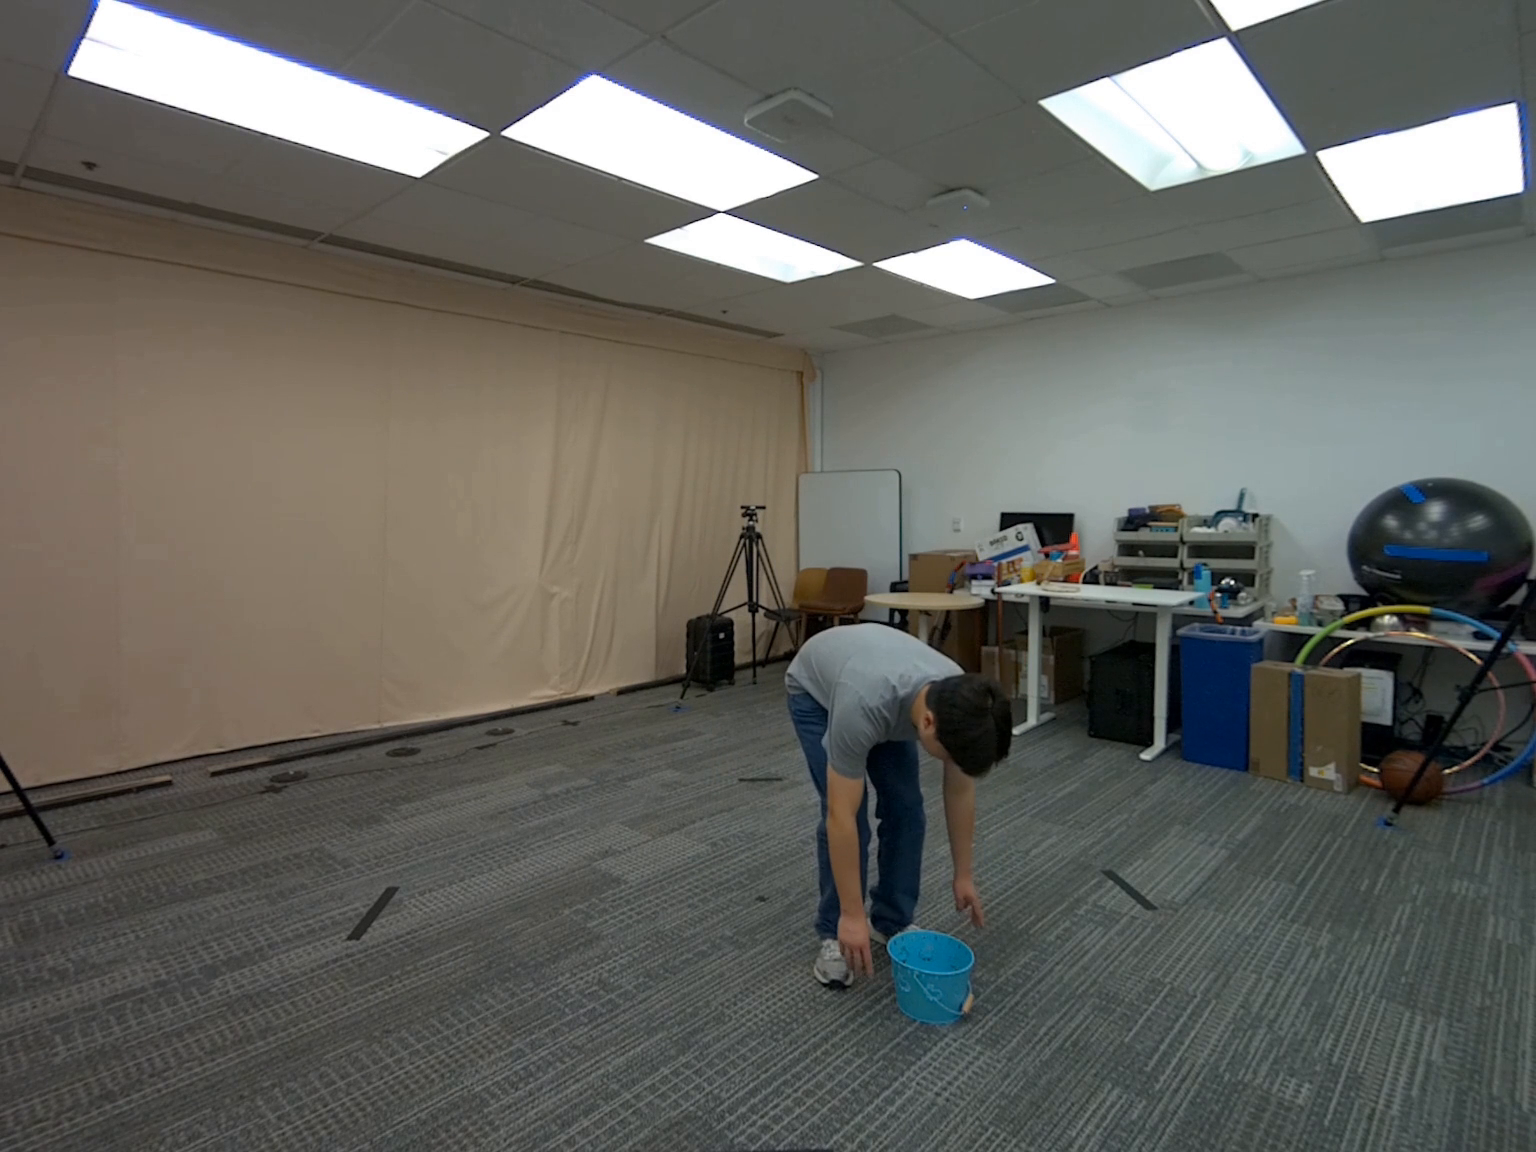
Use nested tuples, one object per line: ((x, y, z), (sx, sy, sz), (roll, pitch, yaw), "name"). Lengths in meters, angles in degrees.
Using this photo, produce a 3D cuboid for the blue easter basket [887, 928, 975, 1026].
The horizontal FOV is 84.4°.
((0.452, 1.108, 2.358), (0.243, 0.155, 0.244), (-1, 3, -2), "blue easter basket")
